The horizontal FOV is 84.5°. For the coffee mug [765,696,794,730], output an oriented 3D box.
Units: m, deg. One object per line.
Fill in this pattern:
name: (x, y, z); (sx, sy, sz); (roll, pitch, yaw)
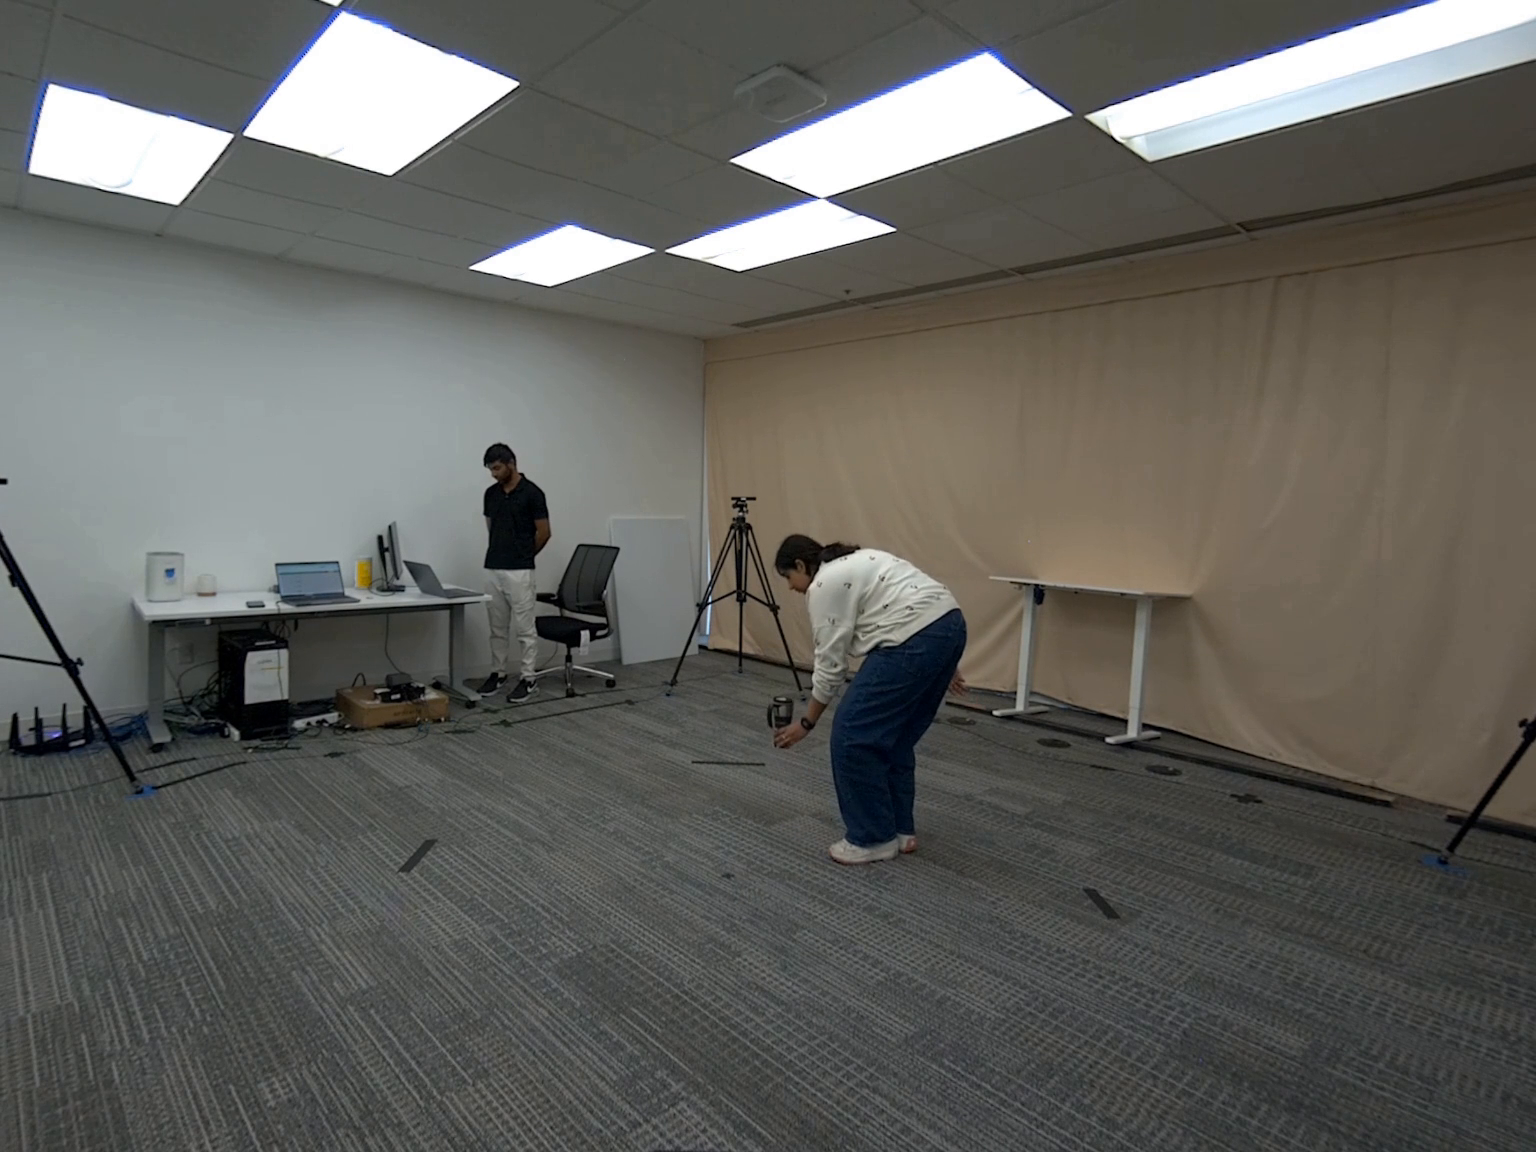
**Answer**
coffee mug: (0.045, 0.609, 3.512); (0.120, 0.203, 0.089); (7, 1, -18)
